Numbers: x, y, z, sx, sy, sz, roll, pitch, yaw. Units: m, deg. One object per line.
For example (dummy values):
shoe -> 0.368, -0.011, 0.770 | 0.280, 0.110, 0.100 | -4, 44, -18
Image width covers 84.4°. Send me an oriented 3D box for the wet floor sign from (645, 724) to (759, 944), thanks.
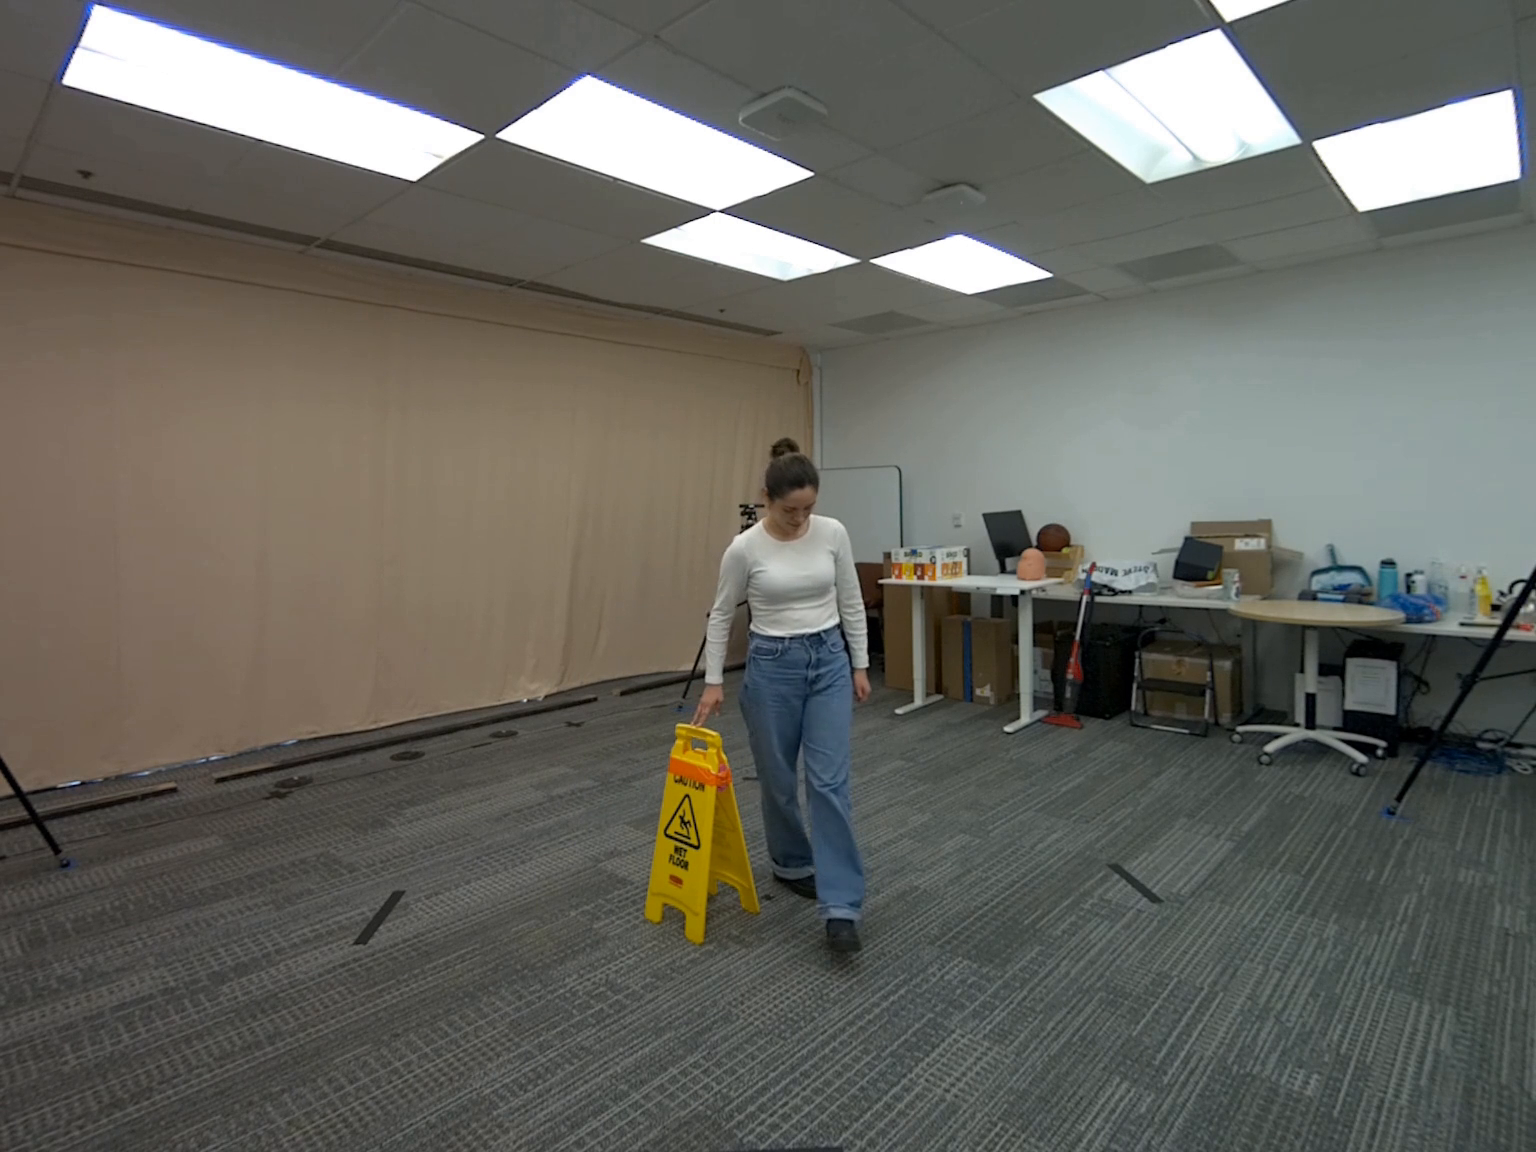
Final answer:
wet floor sign -> -0.228, 0.835, 2.849 | 0.291, 0.645, 0.281 | 1, 4, 43
